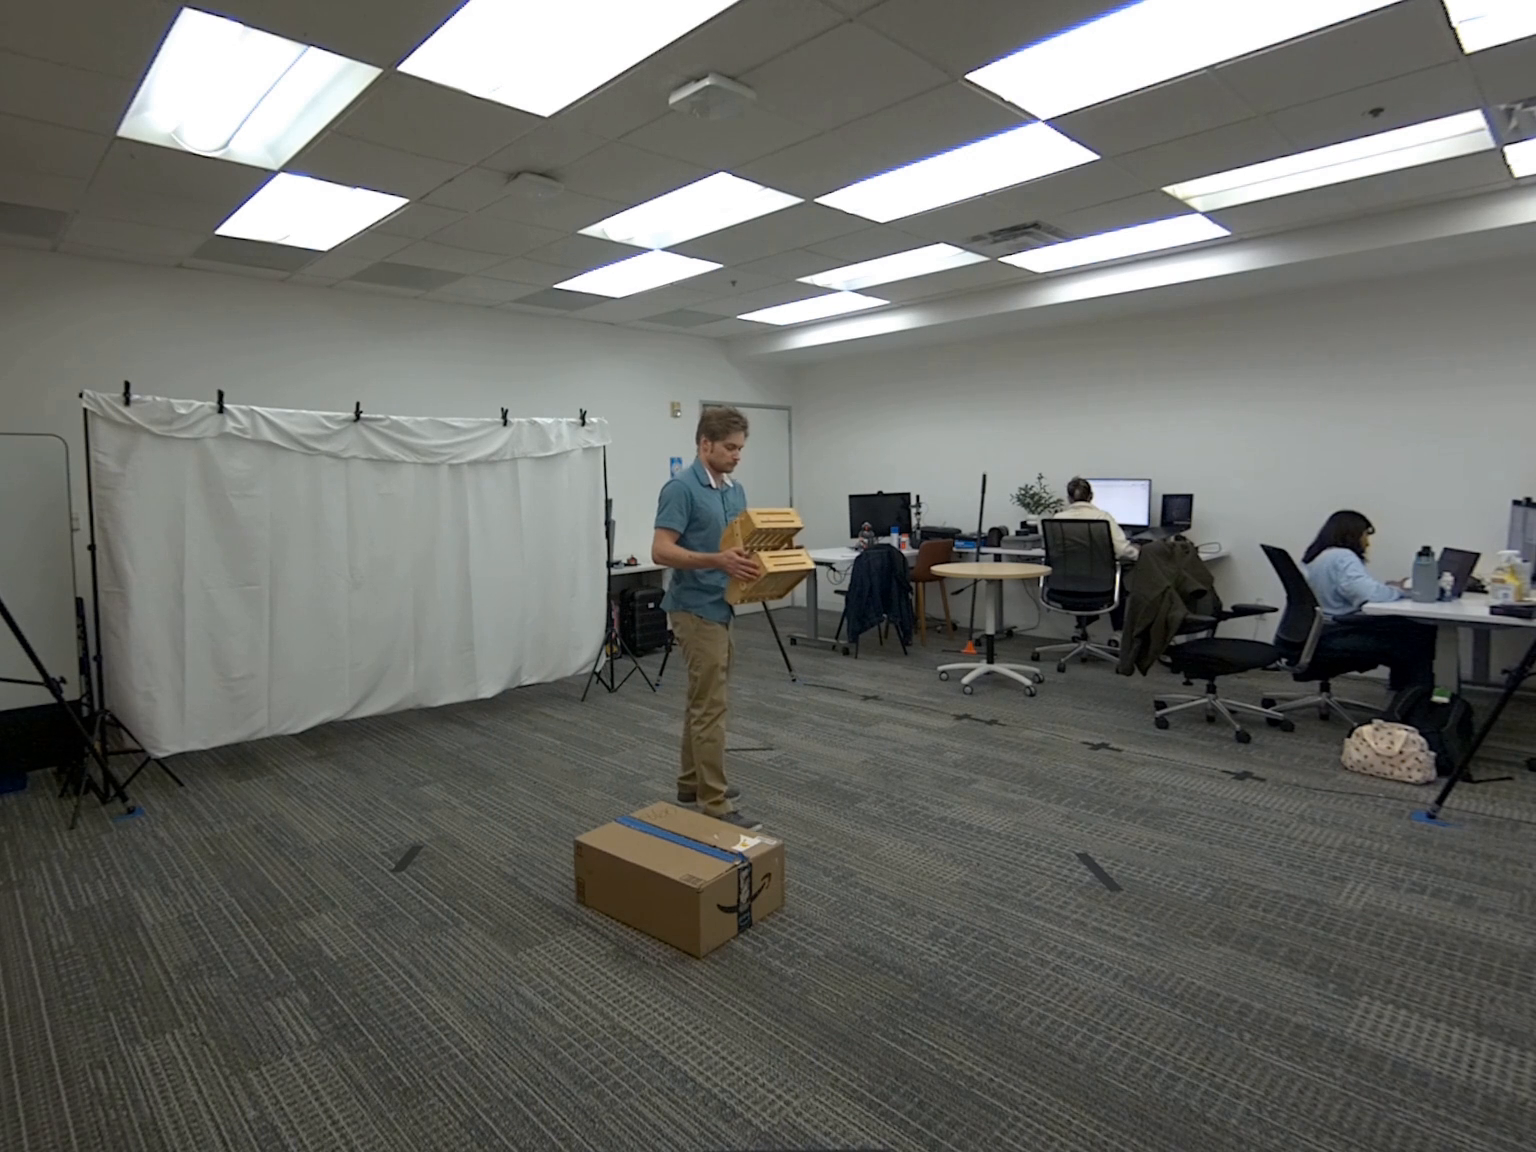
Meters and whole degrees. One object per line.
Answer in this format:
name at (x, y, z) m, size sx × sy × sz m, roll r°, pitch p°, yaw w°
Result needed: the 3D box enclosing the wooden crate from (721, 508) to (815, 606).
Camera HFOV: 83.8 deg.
wooden crate at (-0.029, -0.079, 3.392) m, size 0.315 × 0.280 × 0.303 m, roll -3°, pitch -30°, yaw -47°
